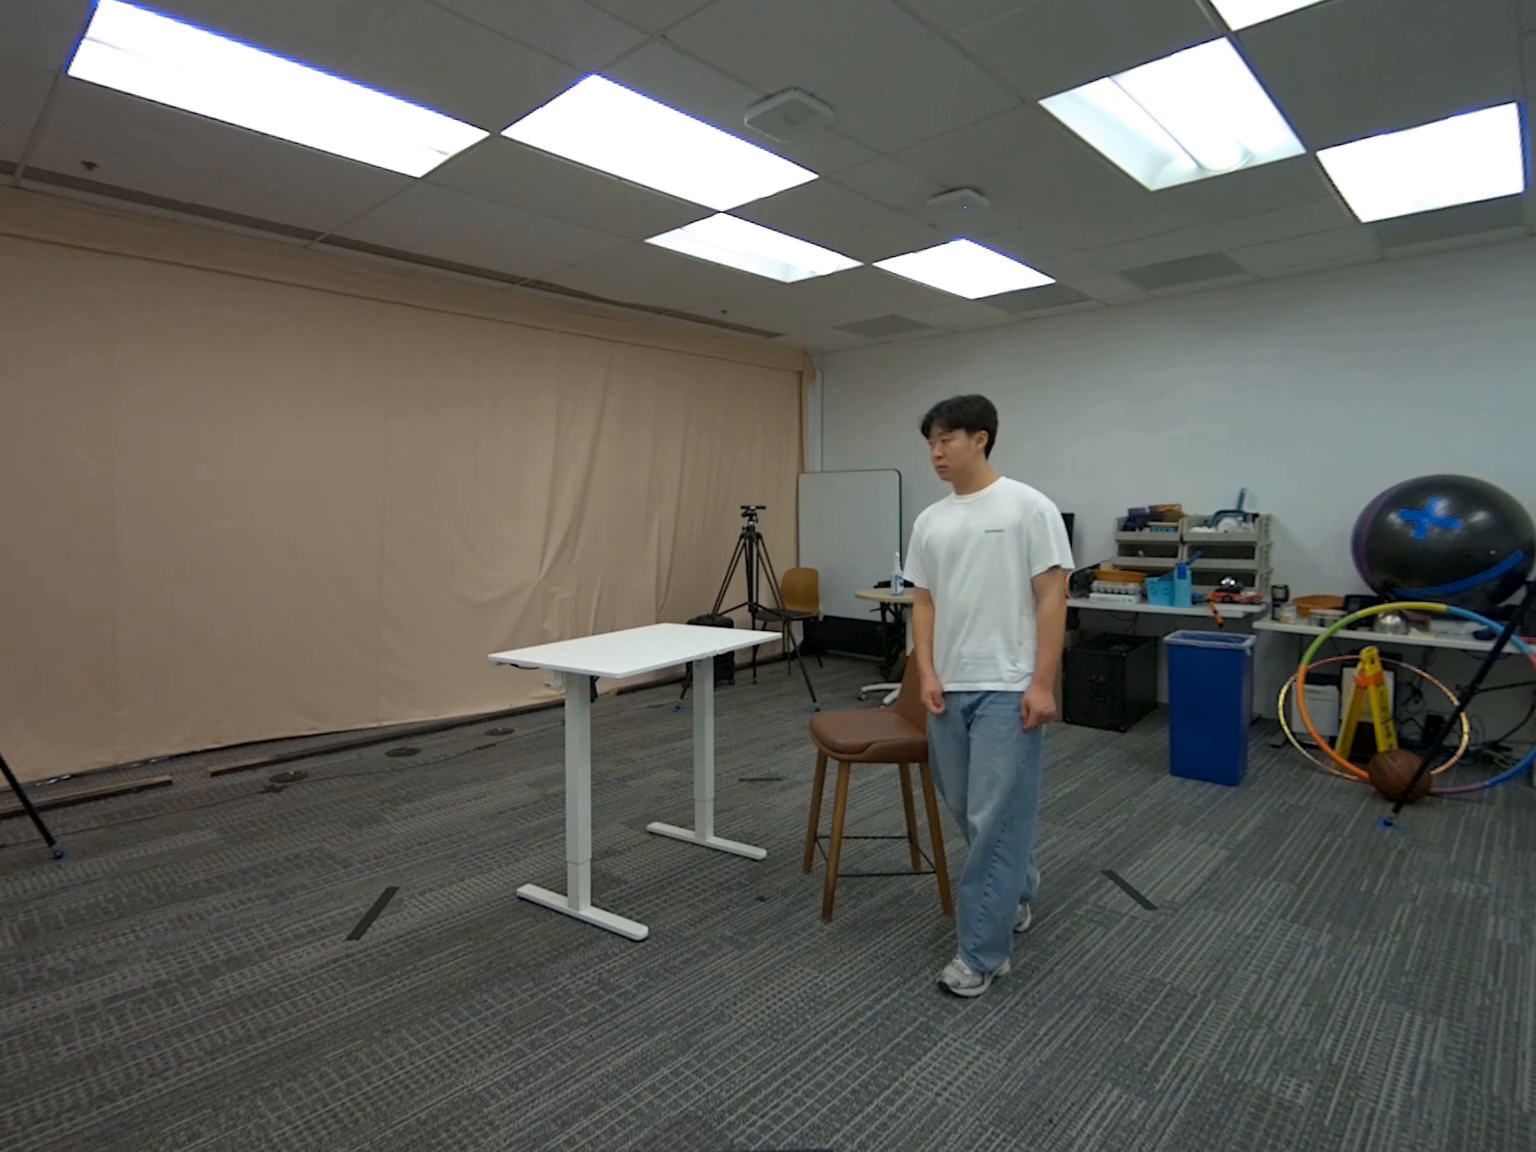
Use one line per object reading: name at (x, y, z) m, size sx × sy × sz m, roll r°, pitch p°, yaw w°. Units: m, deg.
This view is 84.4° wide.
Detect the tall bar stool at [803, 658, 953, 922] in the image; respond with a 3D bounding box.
tall bar stool at (0.389, 0.707, 2.998) m, size 0.465 × 0.888 × 0.460 m, roll 2°, pitch 4°, yaw -6°
